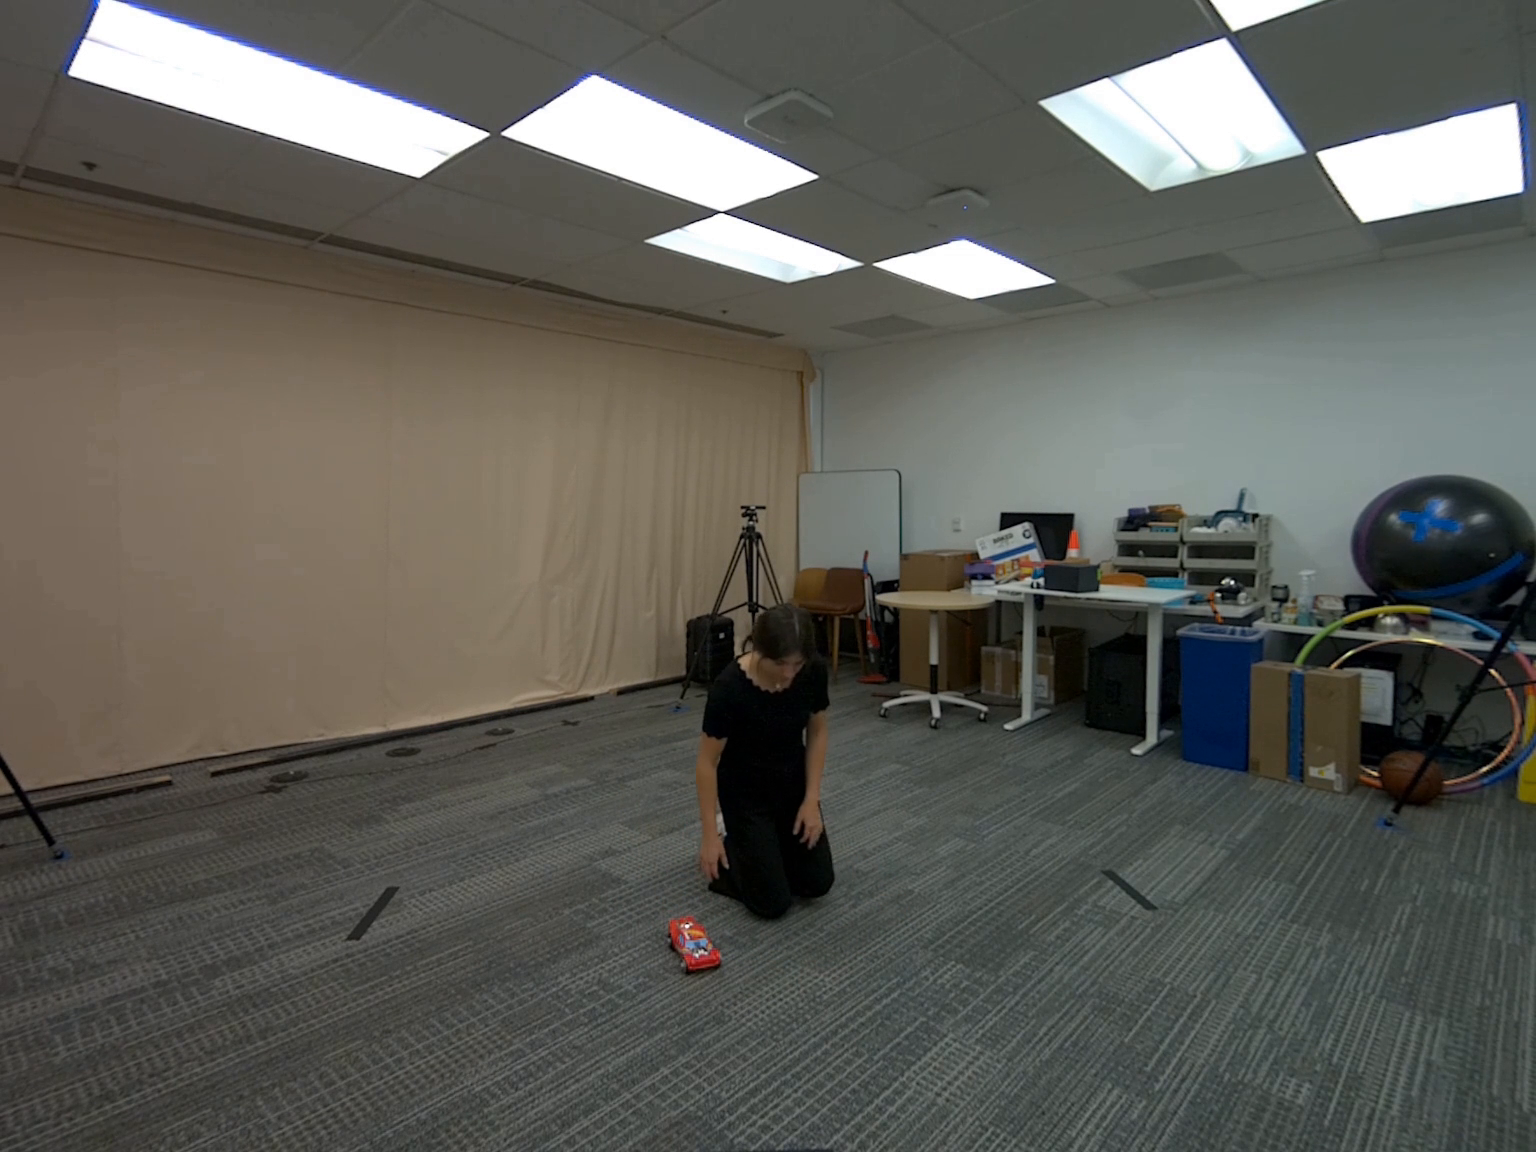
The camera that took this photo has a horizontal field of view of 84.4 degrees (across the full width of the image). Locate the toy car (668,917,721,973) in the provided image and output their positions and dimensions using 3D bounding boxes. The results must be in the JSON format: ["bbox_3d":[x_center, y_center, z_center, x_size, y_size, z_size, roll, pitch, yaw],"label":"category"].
[{"bbox_3d":[-0.235,1.144,2.613,0.128,0.082,0.262,-3,16,-21],"label":"toy car"}]
